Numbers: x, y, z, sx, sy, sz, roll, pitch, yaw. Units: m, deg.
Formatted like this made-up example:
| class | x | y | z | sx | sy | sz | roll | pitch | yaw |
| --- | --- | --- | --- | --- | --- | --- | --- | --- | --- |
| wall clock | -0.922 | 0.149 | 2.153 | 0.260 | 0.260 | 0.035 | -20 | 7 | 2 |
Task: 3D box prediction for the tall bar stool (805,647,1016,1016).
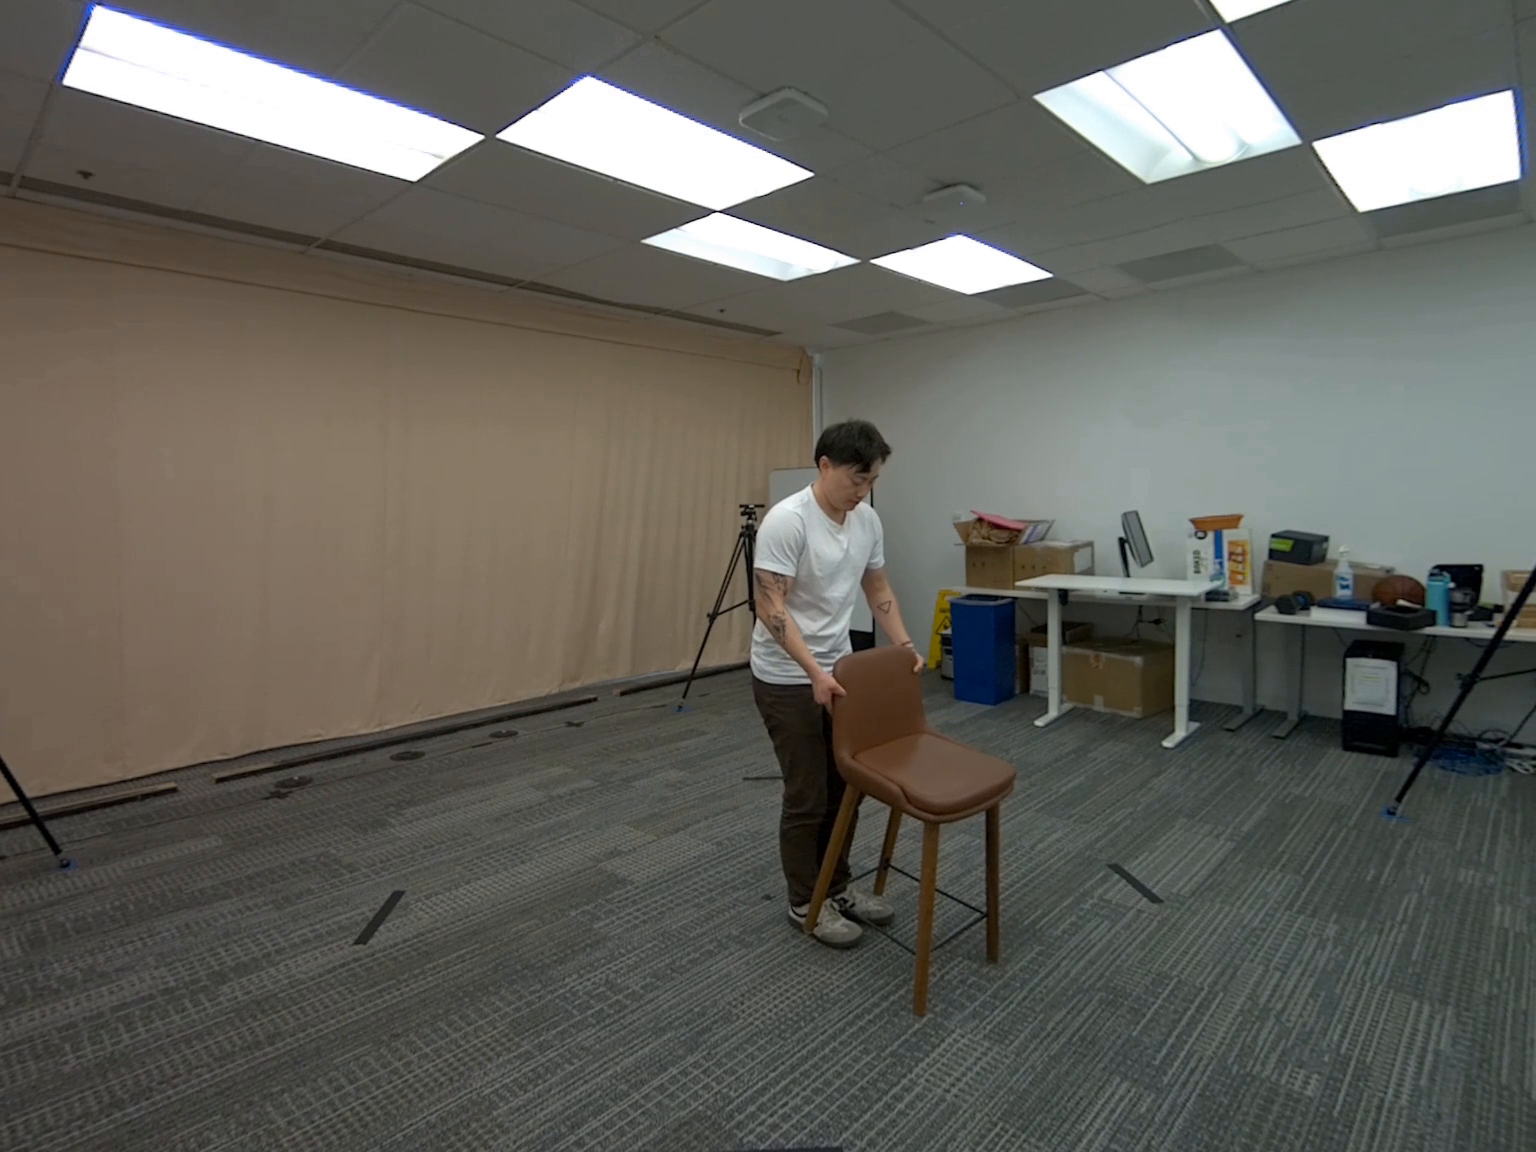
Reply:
| class | x | y | z | sx | sy | sz | roll | pitch | yaw |
| --- | --- | --- | --- | --- | --- | --- | --- | --- | --- |
| tall bar stool | 0.443 | 0.707 | 2.505 | 0.442 | 0.886 | 0.484 | -3 | 10 | -43 |
